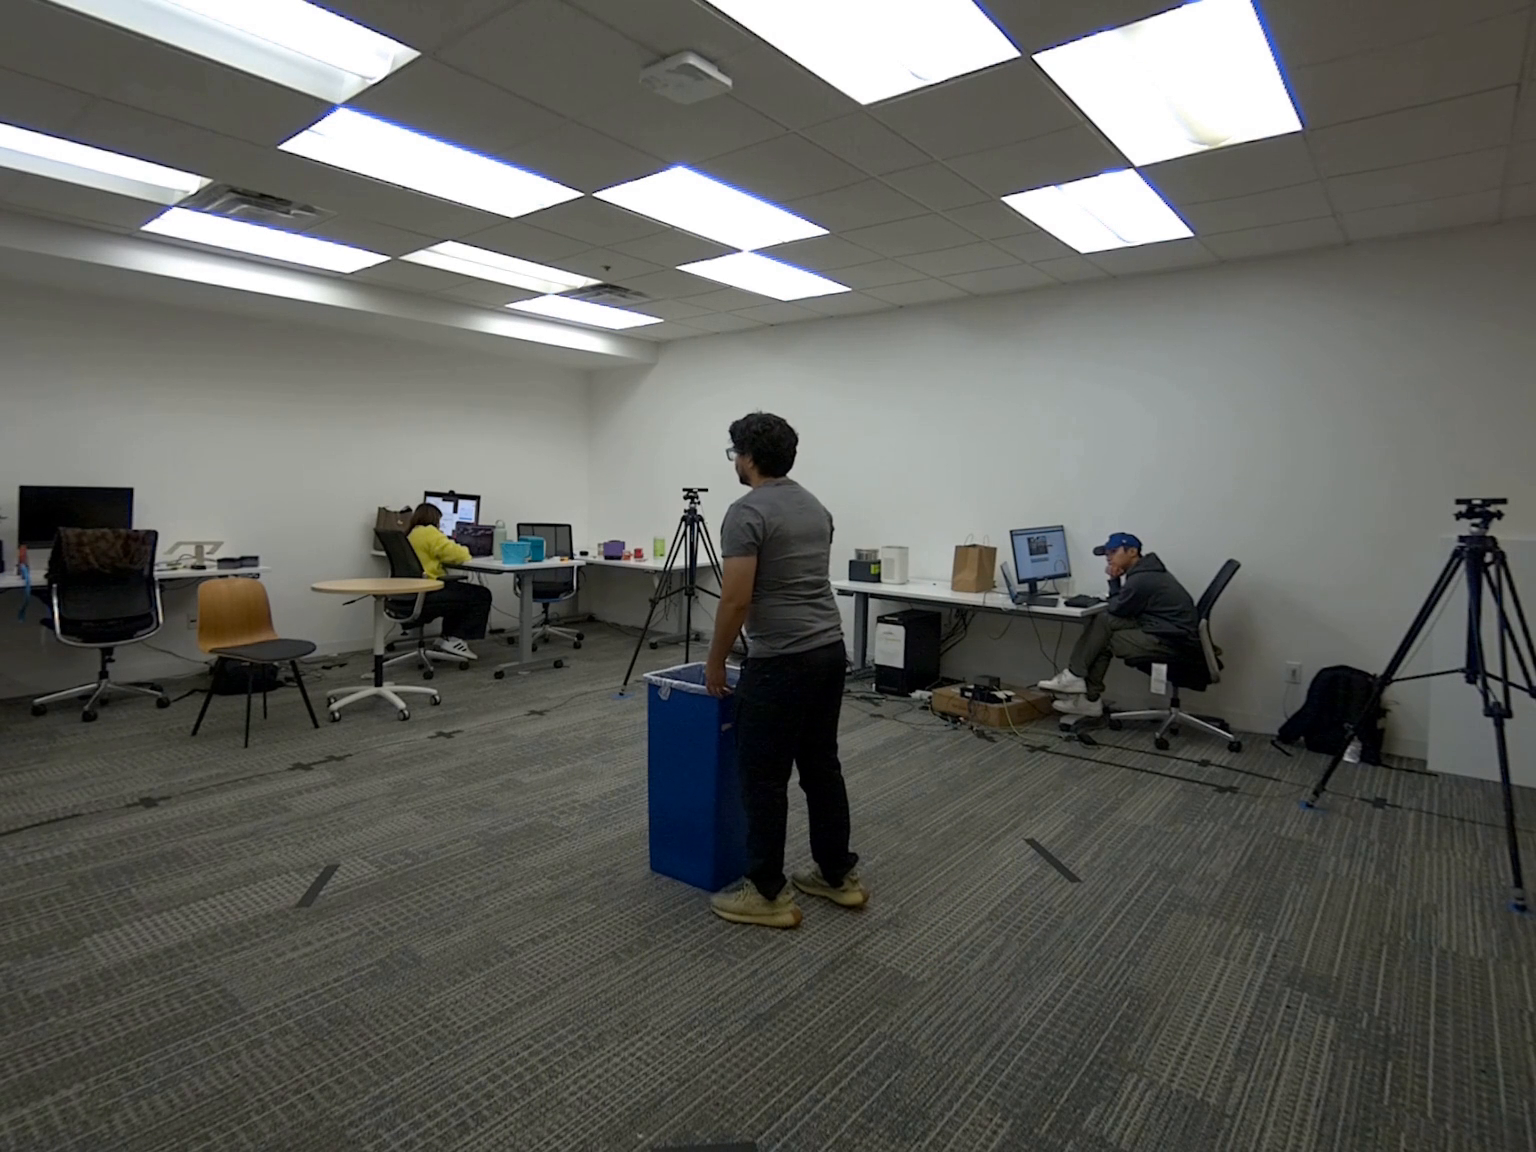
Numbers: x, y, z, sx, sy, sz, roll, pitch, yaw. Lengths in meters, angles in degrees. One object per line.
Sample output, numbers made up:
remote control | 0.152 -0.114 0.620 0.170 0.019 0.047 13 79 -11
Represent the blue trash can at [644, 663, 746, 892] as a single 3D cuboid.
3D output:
blue trash can | -0.232 0.711 3.126 0.390 0.711 0.363 3 4 35
